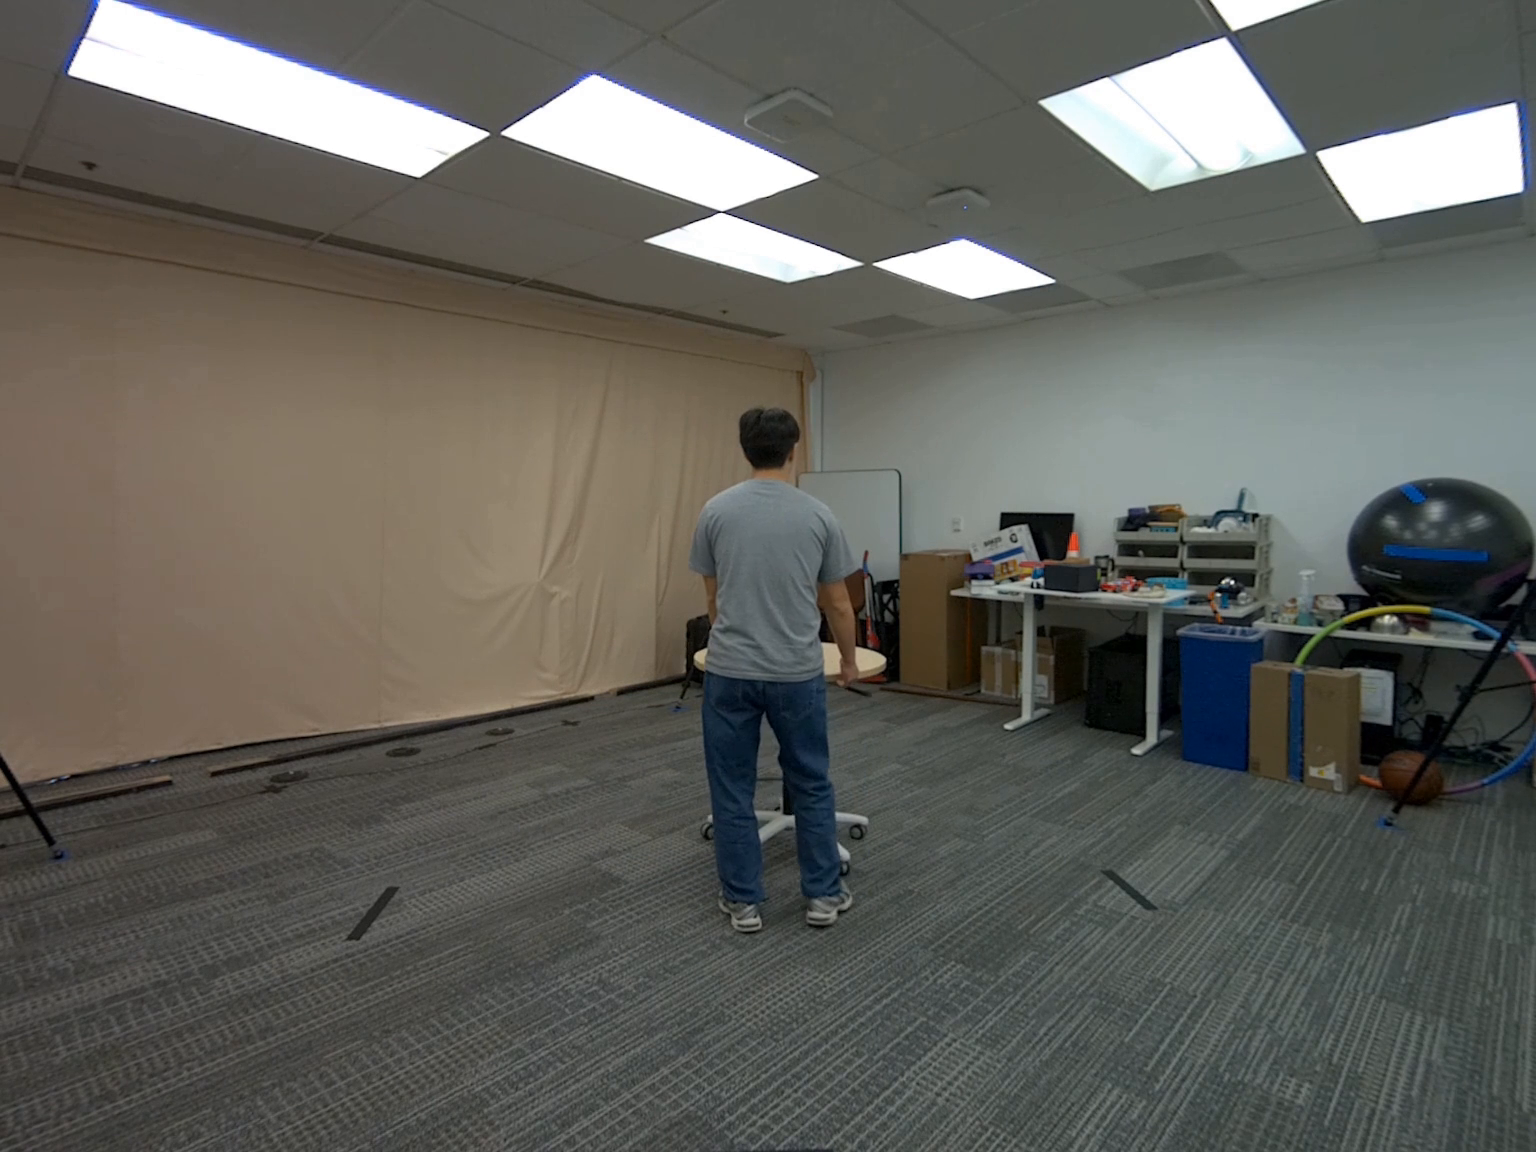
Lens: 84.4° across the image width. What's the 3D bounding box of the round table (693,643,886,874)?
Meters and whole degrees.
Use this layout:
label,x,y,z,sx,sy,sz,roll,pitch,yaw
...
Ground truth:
label,x,y,z,sx,sy,sz,roll,pitch,yaw
round table,0.090,0.717,3.404,0.763,0.792,0.766,0,3,-2
